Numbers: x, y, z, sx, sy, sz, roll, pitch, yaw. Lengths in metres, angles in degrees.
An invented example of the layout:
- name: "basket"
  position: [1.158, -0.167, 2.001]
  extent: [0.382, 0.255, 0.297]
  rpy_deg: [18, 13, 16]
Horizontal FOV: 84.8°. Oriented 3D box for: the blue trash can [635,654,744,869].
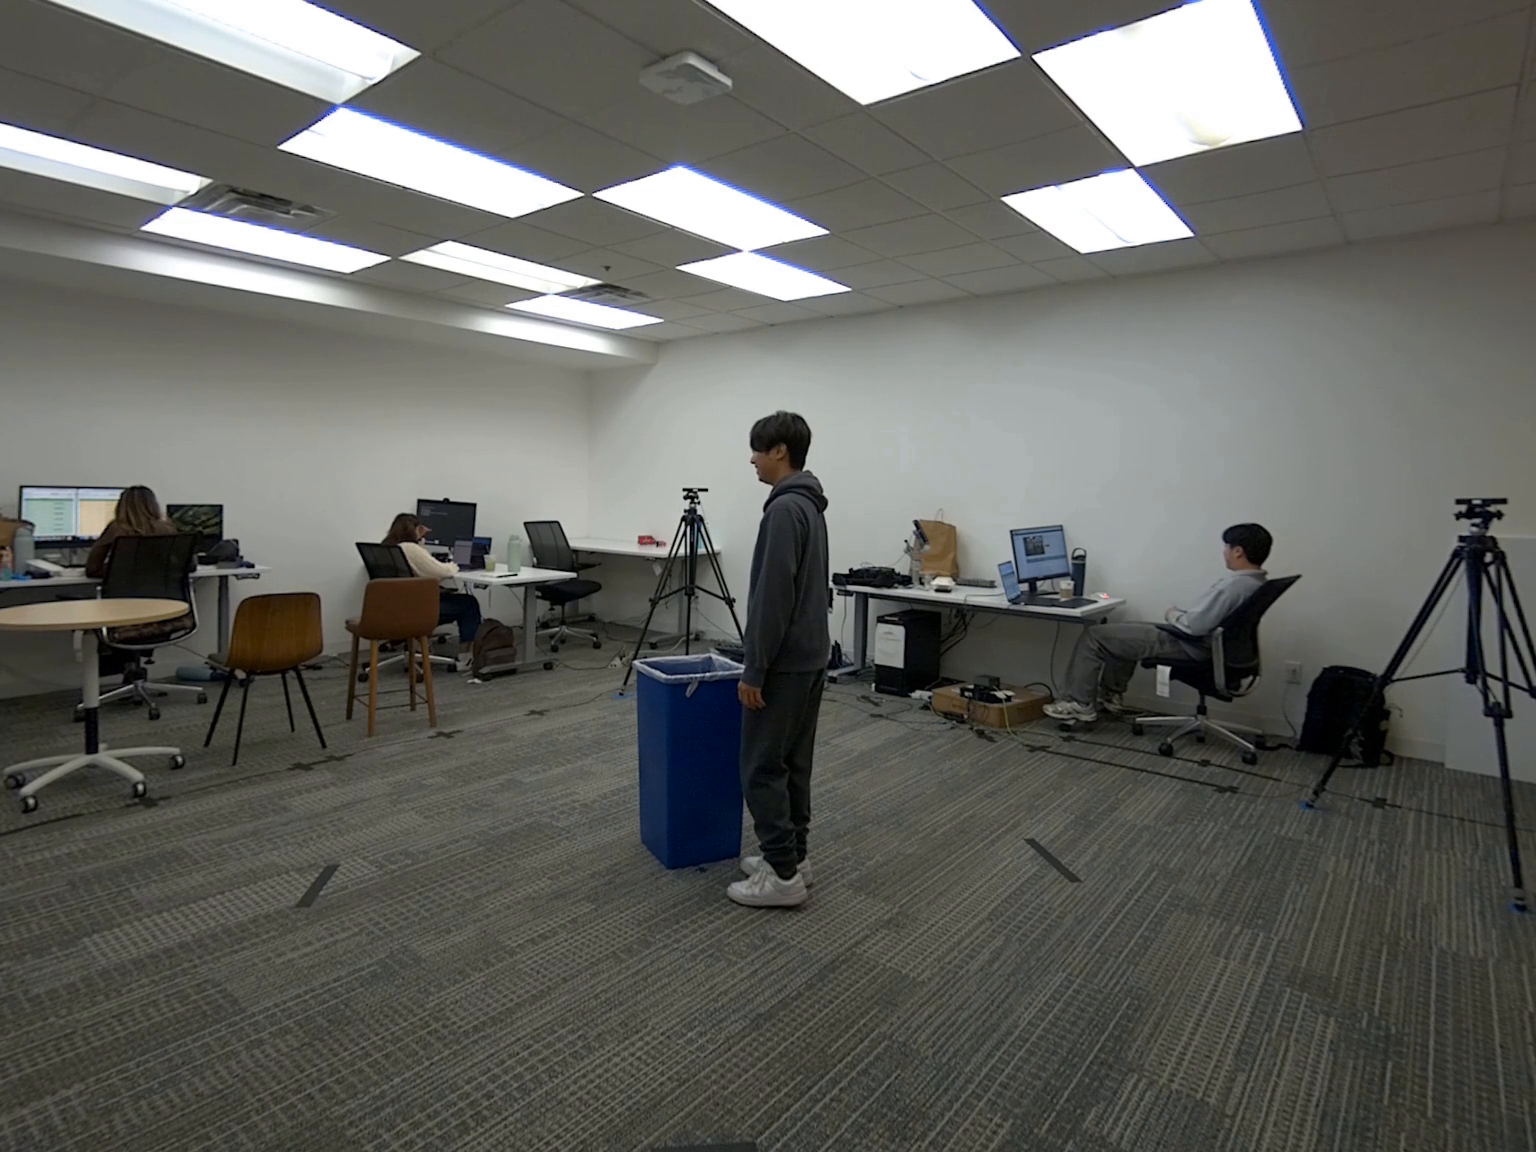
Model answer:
- name: "blue trash can"
  position: [-0.315, 0.693, 3.283]
  extent: [0.368, 0.712, 0.385]
  rpy_deg: [0, 3, -28]
